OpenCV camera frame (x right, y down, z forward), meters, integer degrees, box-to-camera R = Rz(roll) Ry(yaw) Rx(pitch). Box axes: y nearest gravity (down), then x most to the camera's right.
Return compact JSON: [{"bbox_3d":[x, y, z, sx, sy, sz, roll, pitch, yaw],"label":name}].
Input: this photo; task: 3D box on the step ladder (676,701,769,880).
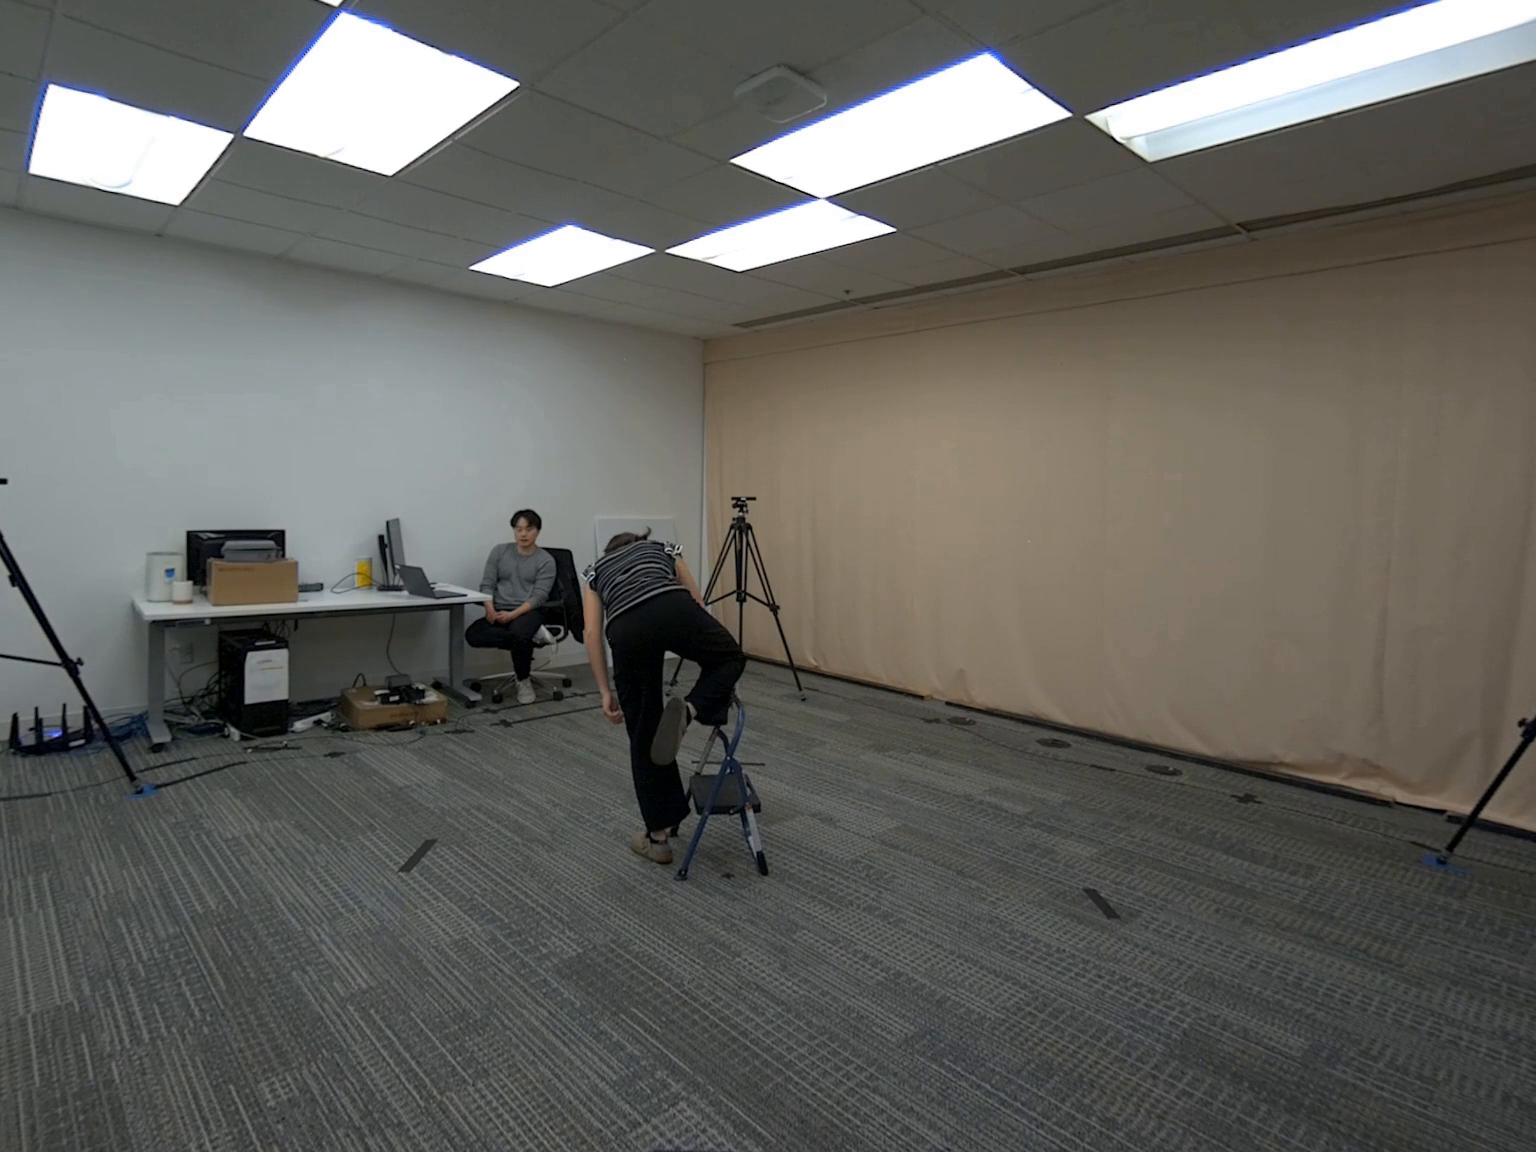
[{"bbox_3d":[-0.203,0.790,3.273,0.347,0.604,0.435,0,4,-10],"label":"step ladder"}]
